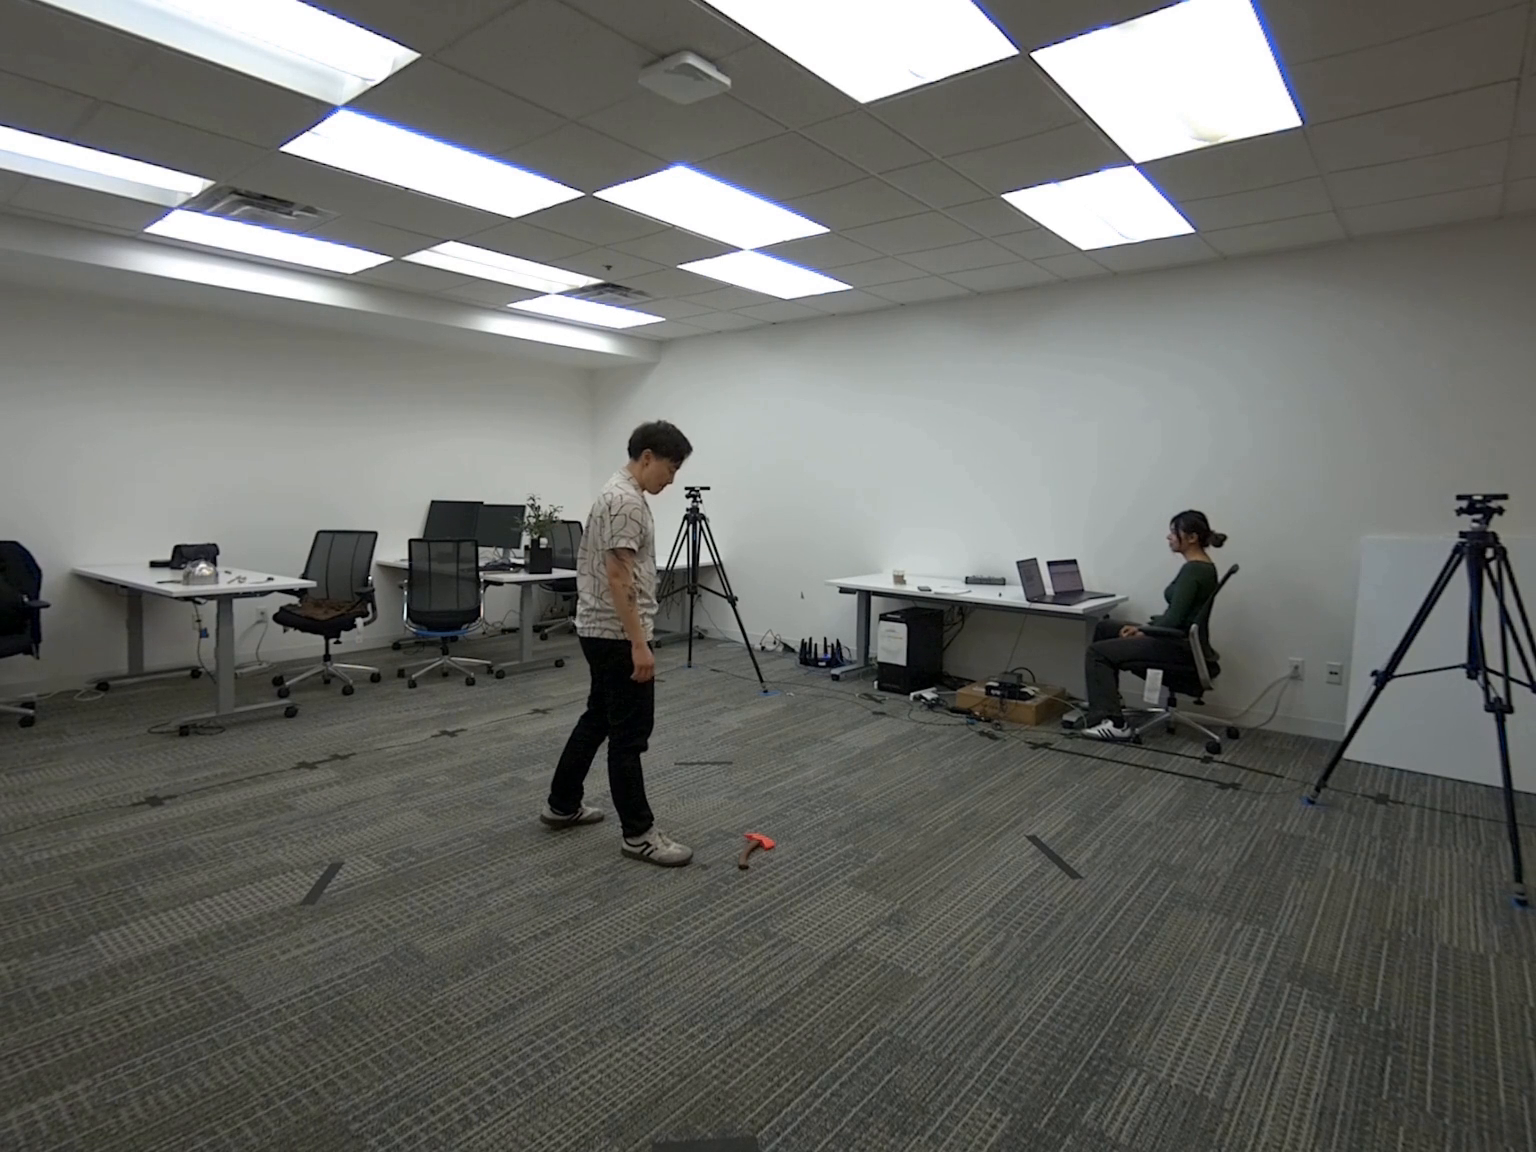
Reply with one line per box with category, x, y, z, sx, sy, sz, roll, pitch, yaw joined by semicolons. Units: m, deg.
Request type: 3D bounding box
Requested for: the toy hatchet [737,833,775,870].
toy hatchet;-0.045;1.049;3.224;0.132;0.029;0.271;7;9;2
